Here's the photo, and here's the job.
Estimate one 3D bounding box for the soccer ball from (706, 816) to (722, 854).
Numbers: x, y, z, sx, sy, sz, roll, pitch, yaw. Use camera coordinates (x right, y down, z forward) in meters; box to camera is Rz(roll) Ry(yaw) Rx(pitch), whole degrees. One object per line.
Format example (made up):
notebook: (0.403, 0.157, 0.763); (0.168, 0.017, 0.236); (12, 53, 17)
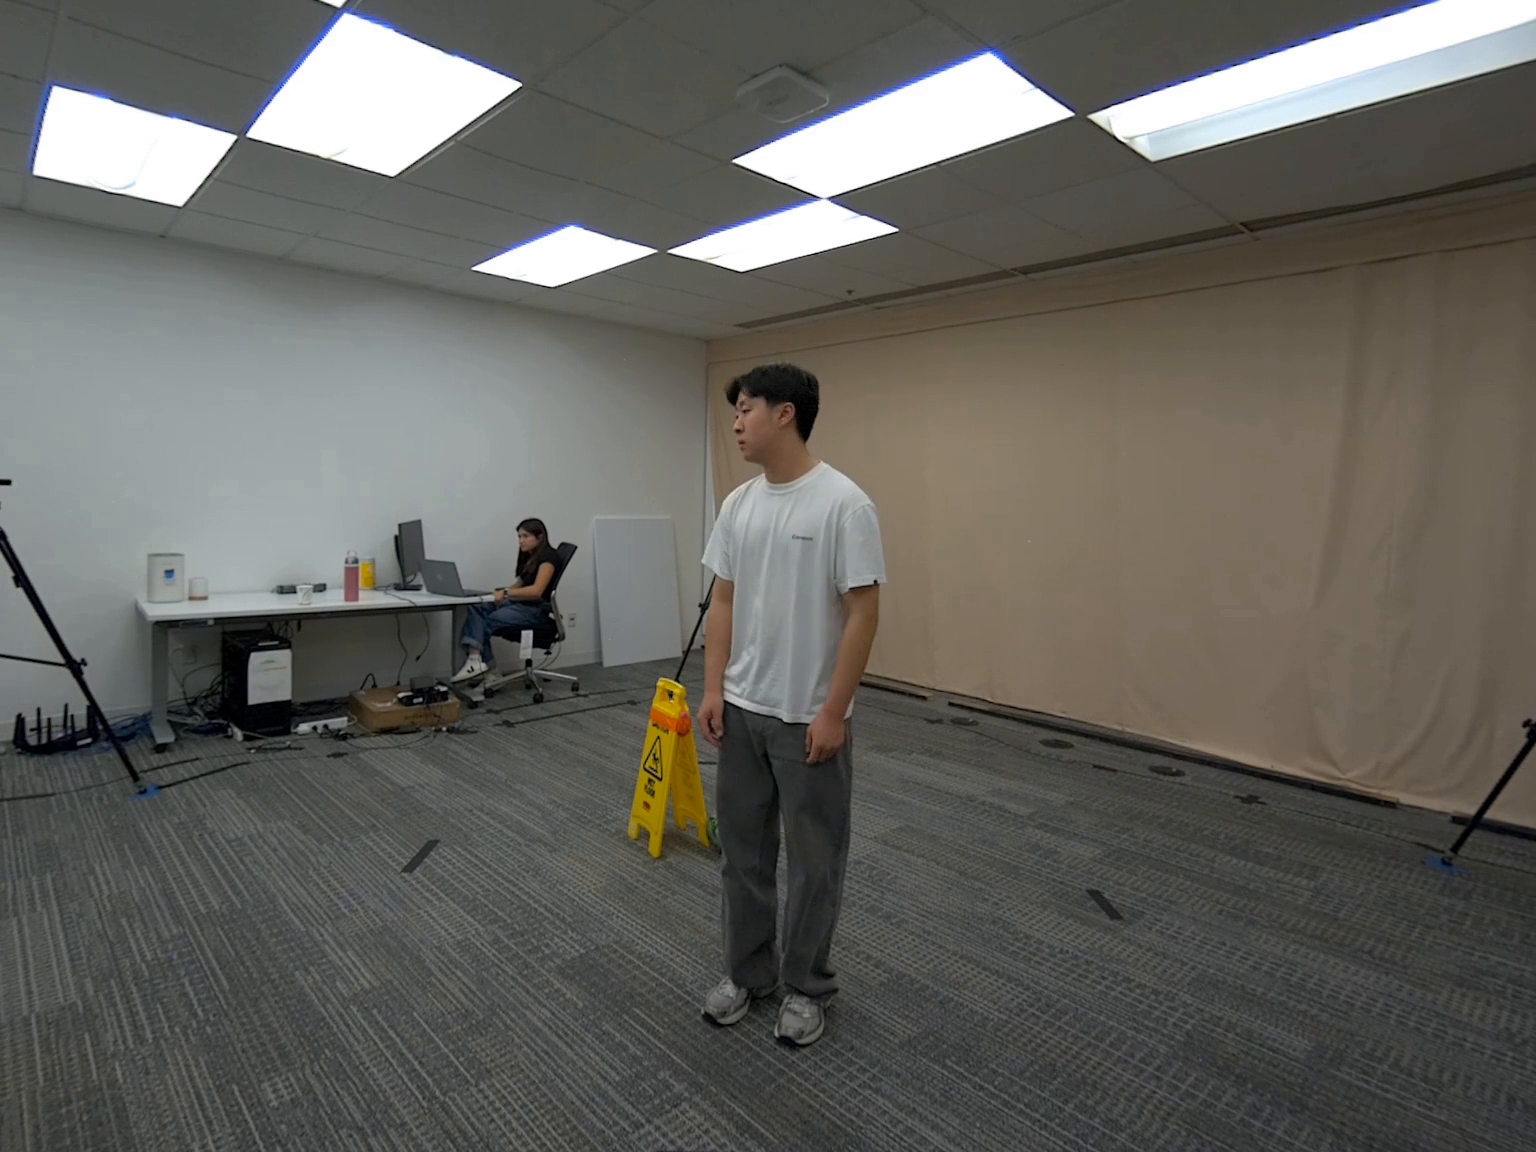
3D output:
soccer ball: (-0.157, 1.005, 3.300); (0.187, 0.187, 0.188); (1, 4, -1)
